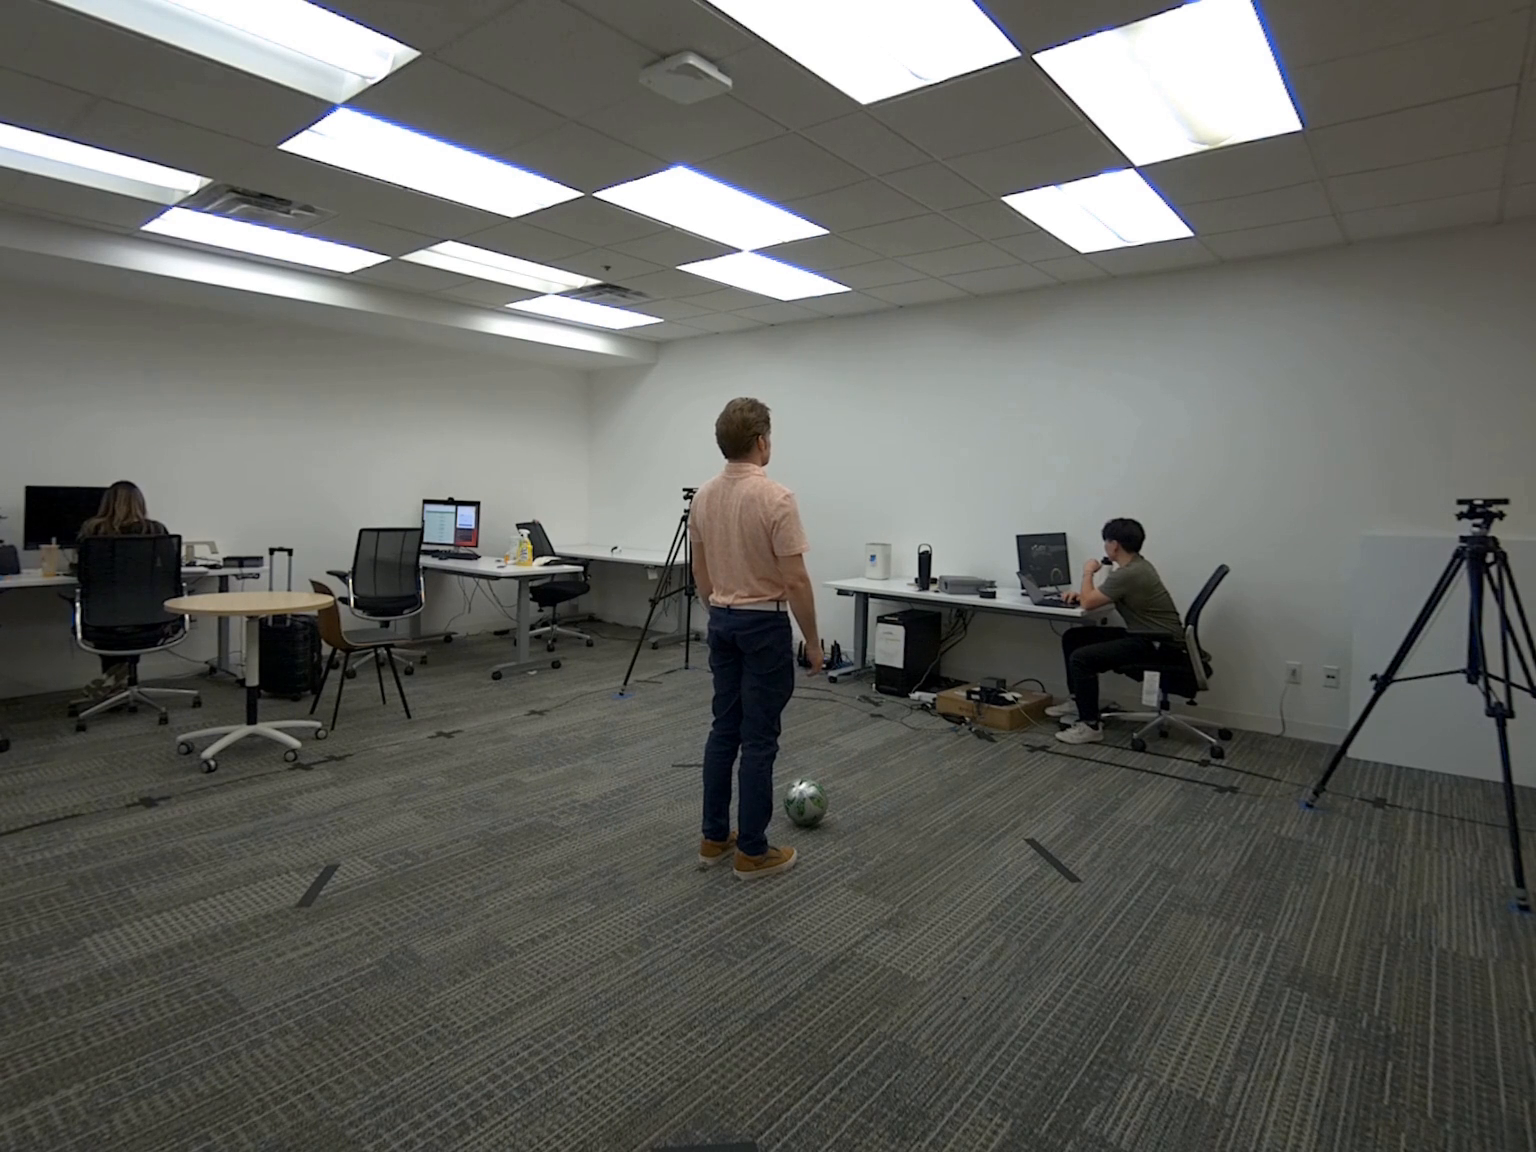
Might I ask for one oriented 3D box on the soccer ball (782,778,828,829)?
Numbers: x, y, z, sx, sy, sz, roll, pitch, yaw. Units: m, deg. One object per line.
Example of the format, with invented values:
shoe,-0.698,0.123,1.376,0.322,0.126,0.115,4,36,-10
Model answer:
soccer ball,0.148,0.947,3.552,0.187,0.187,0.188,1,4,-2
